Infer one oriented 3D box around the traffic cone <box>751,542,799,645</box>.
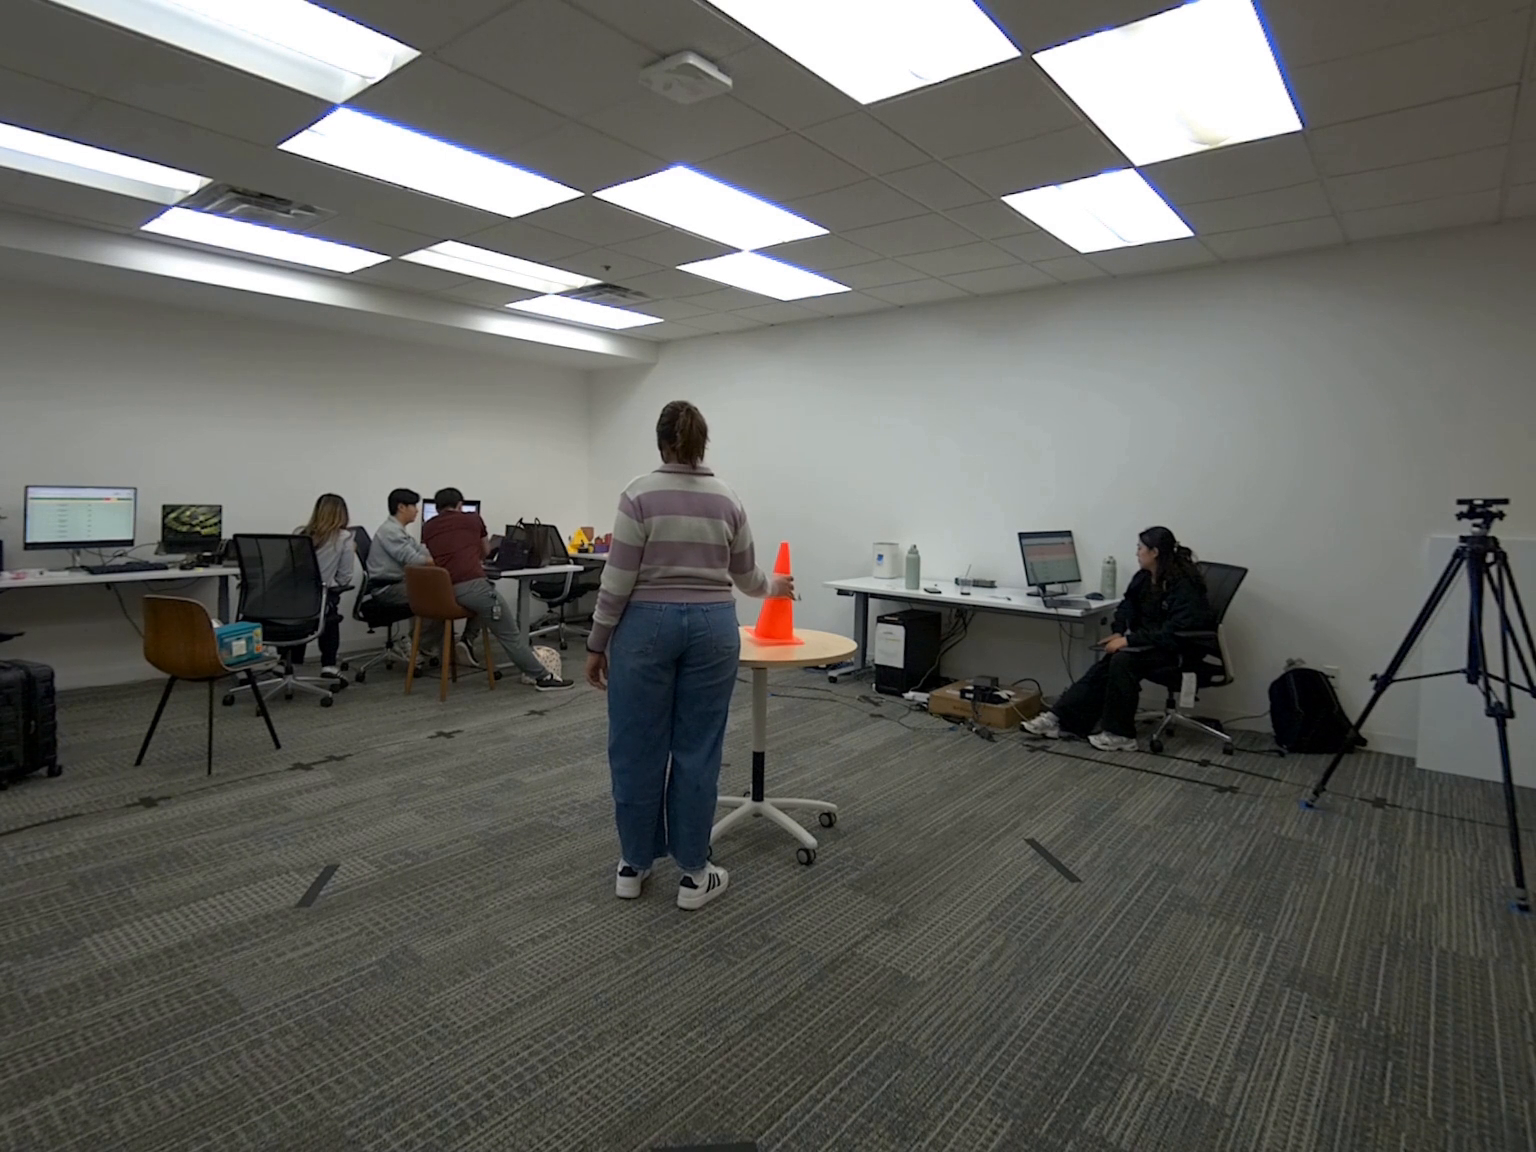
[{"bbox_3d":[0.037,0.054,3.388,0.199,0.381,0.211,1,8,-23],"label":"traffic cone"}]
